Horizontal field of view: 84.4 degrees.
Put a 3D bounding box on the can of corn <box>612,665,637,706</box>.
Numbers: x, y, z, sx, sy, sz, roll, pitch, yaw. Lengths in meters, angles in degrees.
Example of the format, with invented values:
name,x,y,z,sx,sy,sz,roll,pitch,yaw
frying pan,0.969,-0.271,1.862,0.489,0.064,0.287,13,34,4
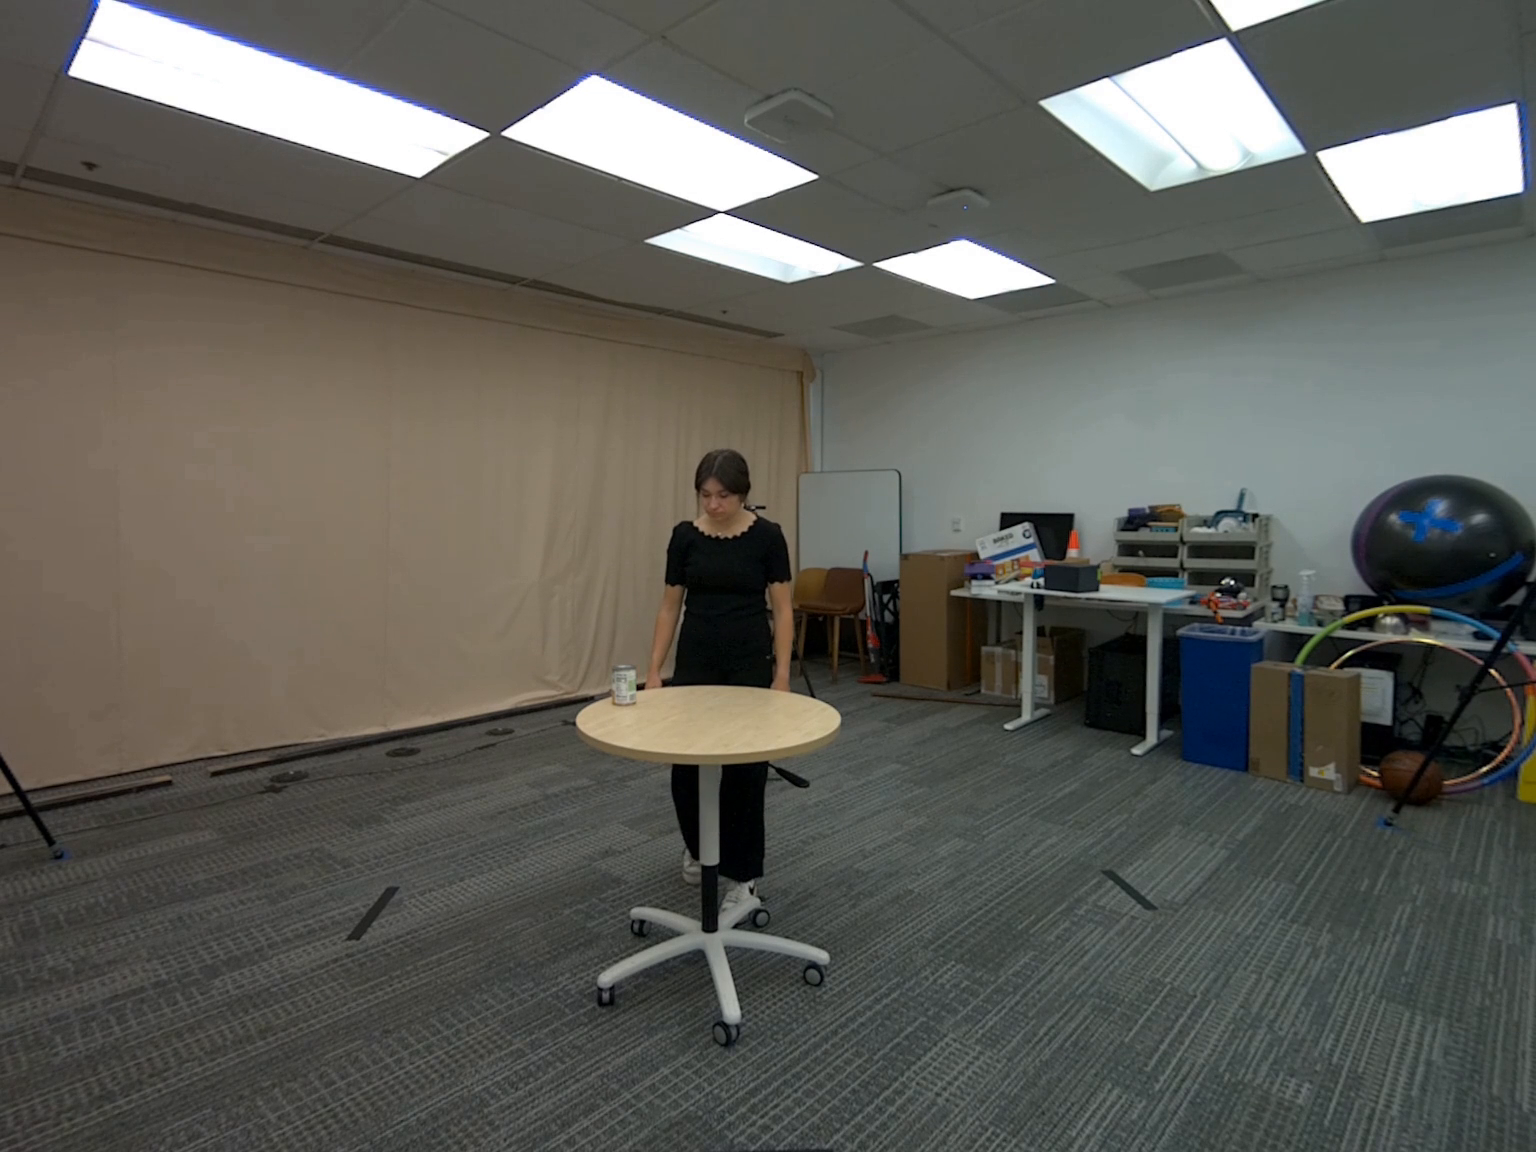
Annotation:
name,x,y,z,sx,sy,sz,roll,pitch,yaw
can of corn,-0.438,0.336,2.585,0.074,0.110,0.074,-3,6,-2
